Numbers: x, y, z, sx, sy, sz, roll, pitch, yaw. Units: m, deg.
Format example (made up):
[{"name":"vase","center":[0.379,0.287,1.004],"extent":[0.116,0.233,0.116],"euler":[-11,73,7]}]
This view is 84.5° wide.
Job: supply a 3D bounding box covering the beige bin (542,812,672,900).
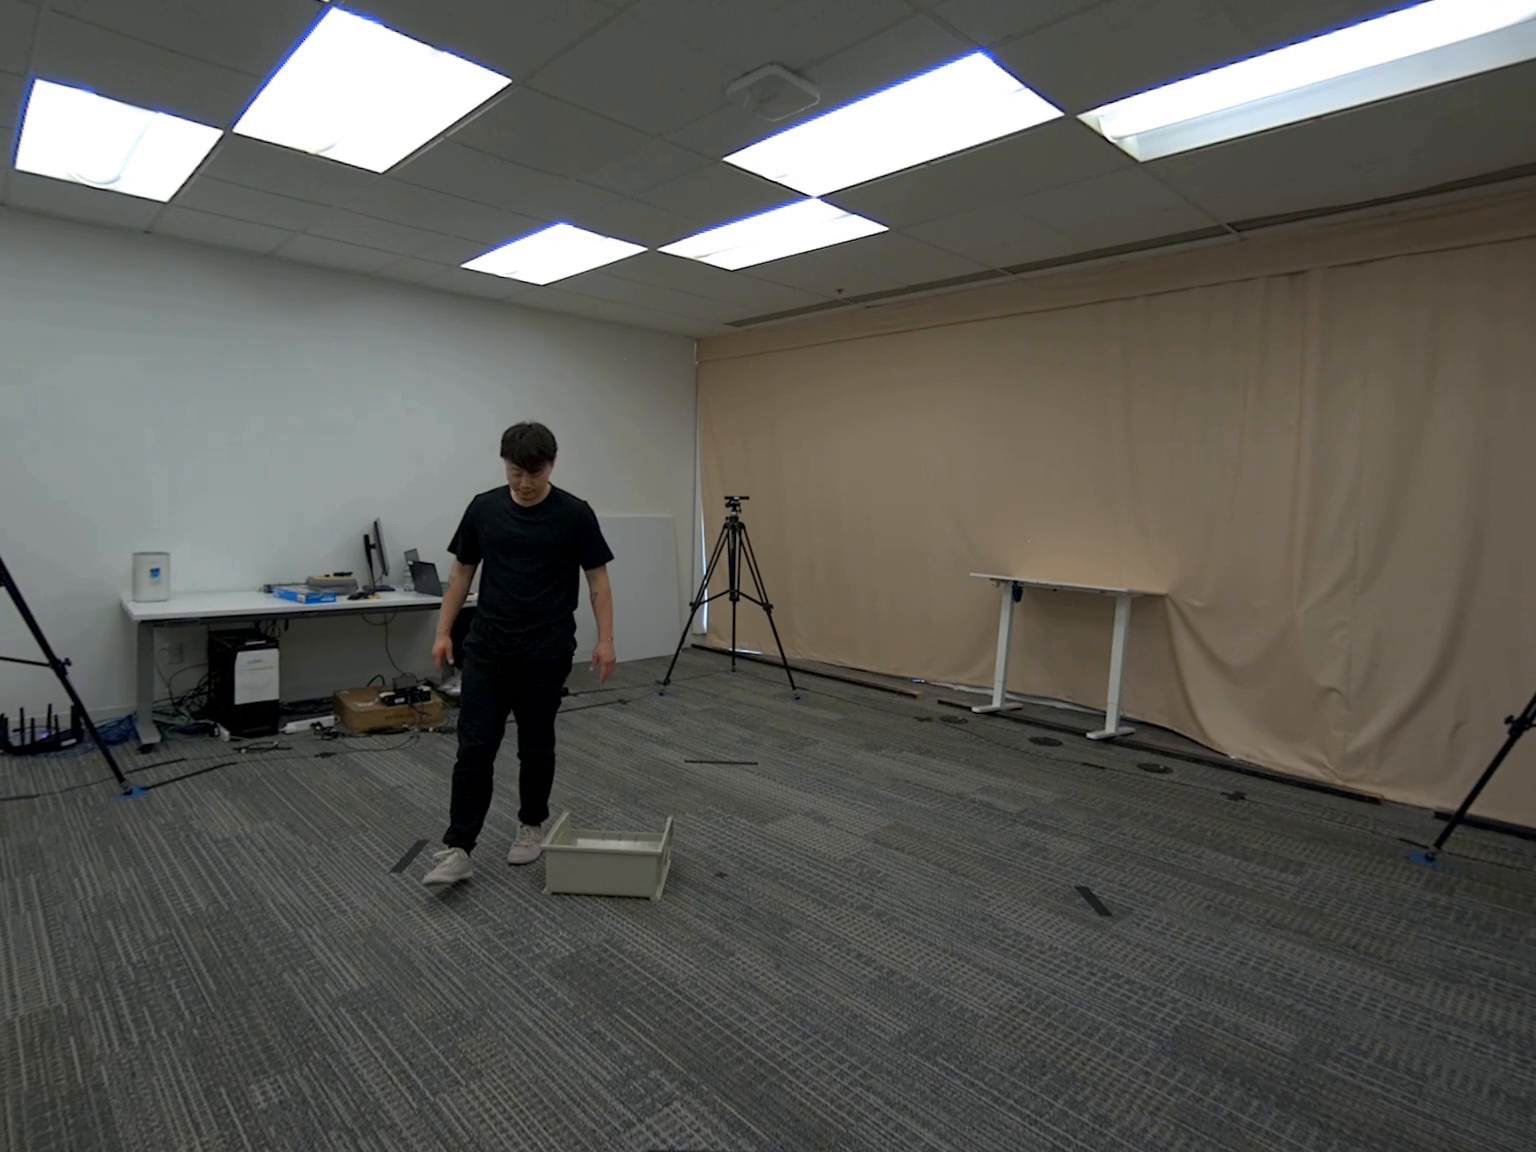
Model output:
[{"name":"beige bin","center":[-0.582,1.014,3.070],"extent":[0.423,0.188,0.378],"euler":[2,5,2]}]
